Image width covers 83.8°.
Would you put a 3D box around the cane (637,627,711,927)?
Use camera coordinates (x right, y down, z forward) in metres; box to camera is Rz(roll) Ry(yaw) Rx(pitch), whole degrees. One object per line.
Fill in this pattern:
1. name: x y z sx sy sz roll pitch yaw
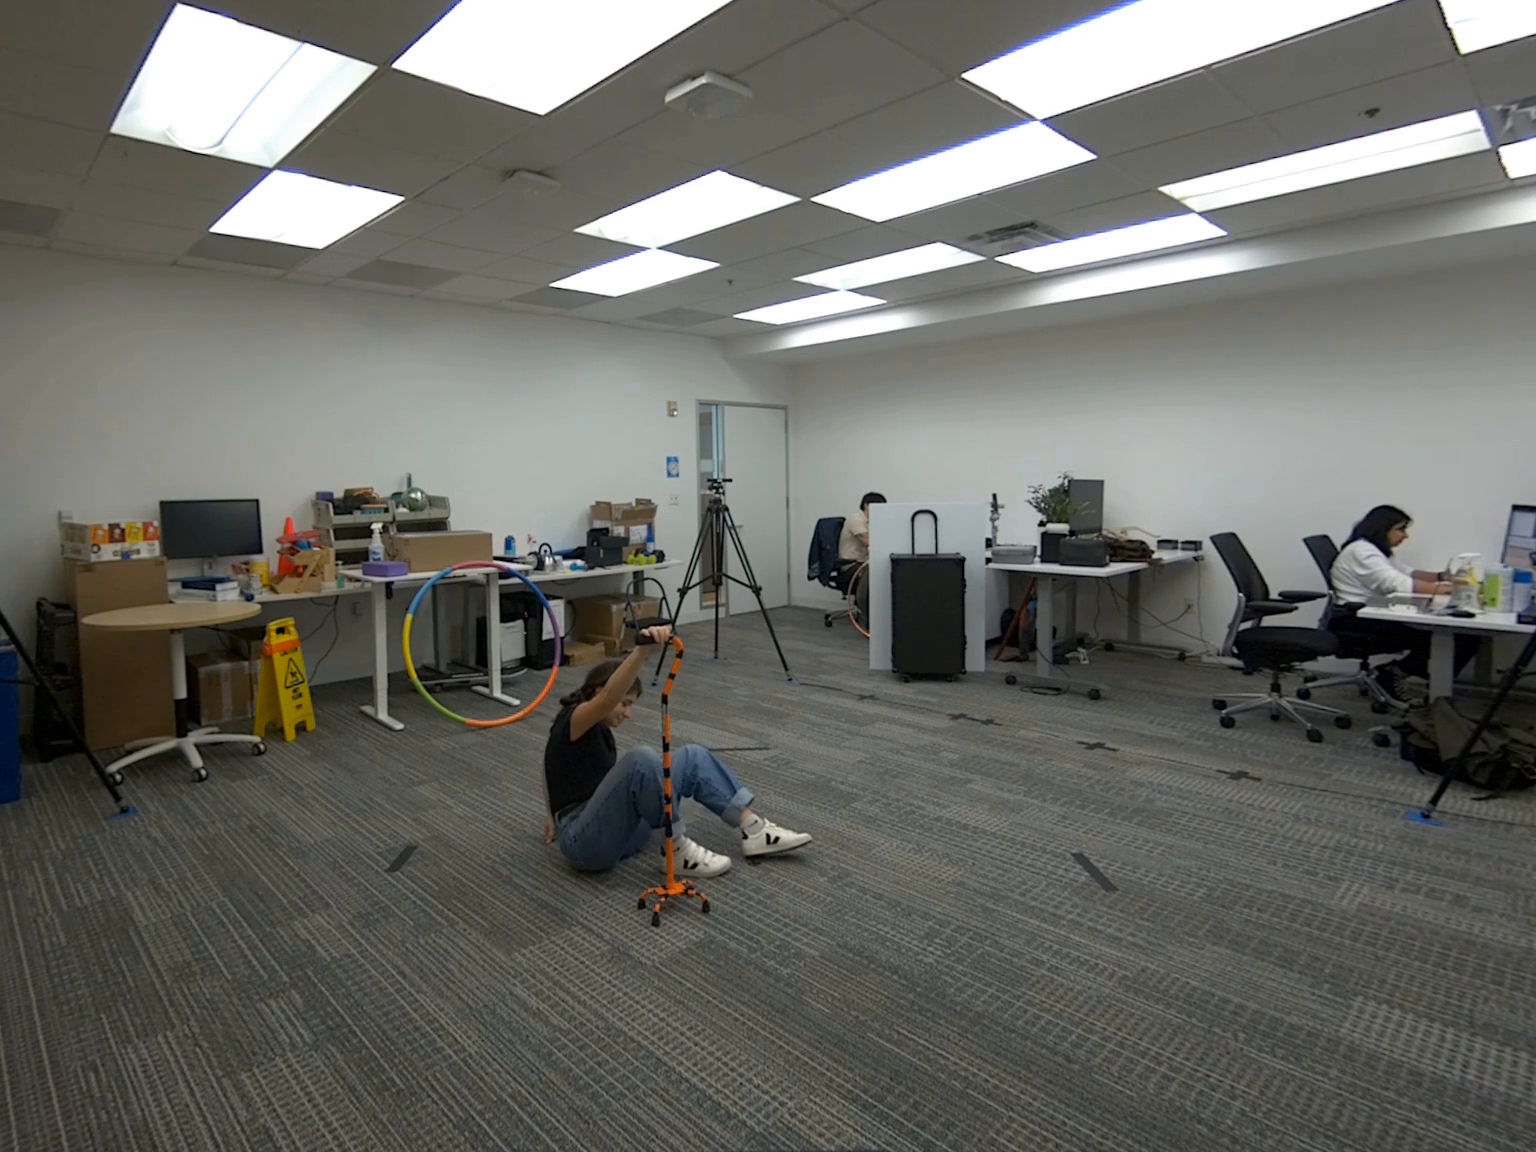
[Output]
1. cane: -0.310 0.635 2.763 0.201 0.906 0.155 -2 2 -31
